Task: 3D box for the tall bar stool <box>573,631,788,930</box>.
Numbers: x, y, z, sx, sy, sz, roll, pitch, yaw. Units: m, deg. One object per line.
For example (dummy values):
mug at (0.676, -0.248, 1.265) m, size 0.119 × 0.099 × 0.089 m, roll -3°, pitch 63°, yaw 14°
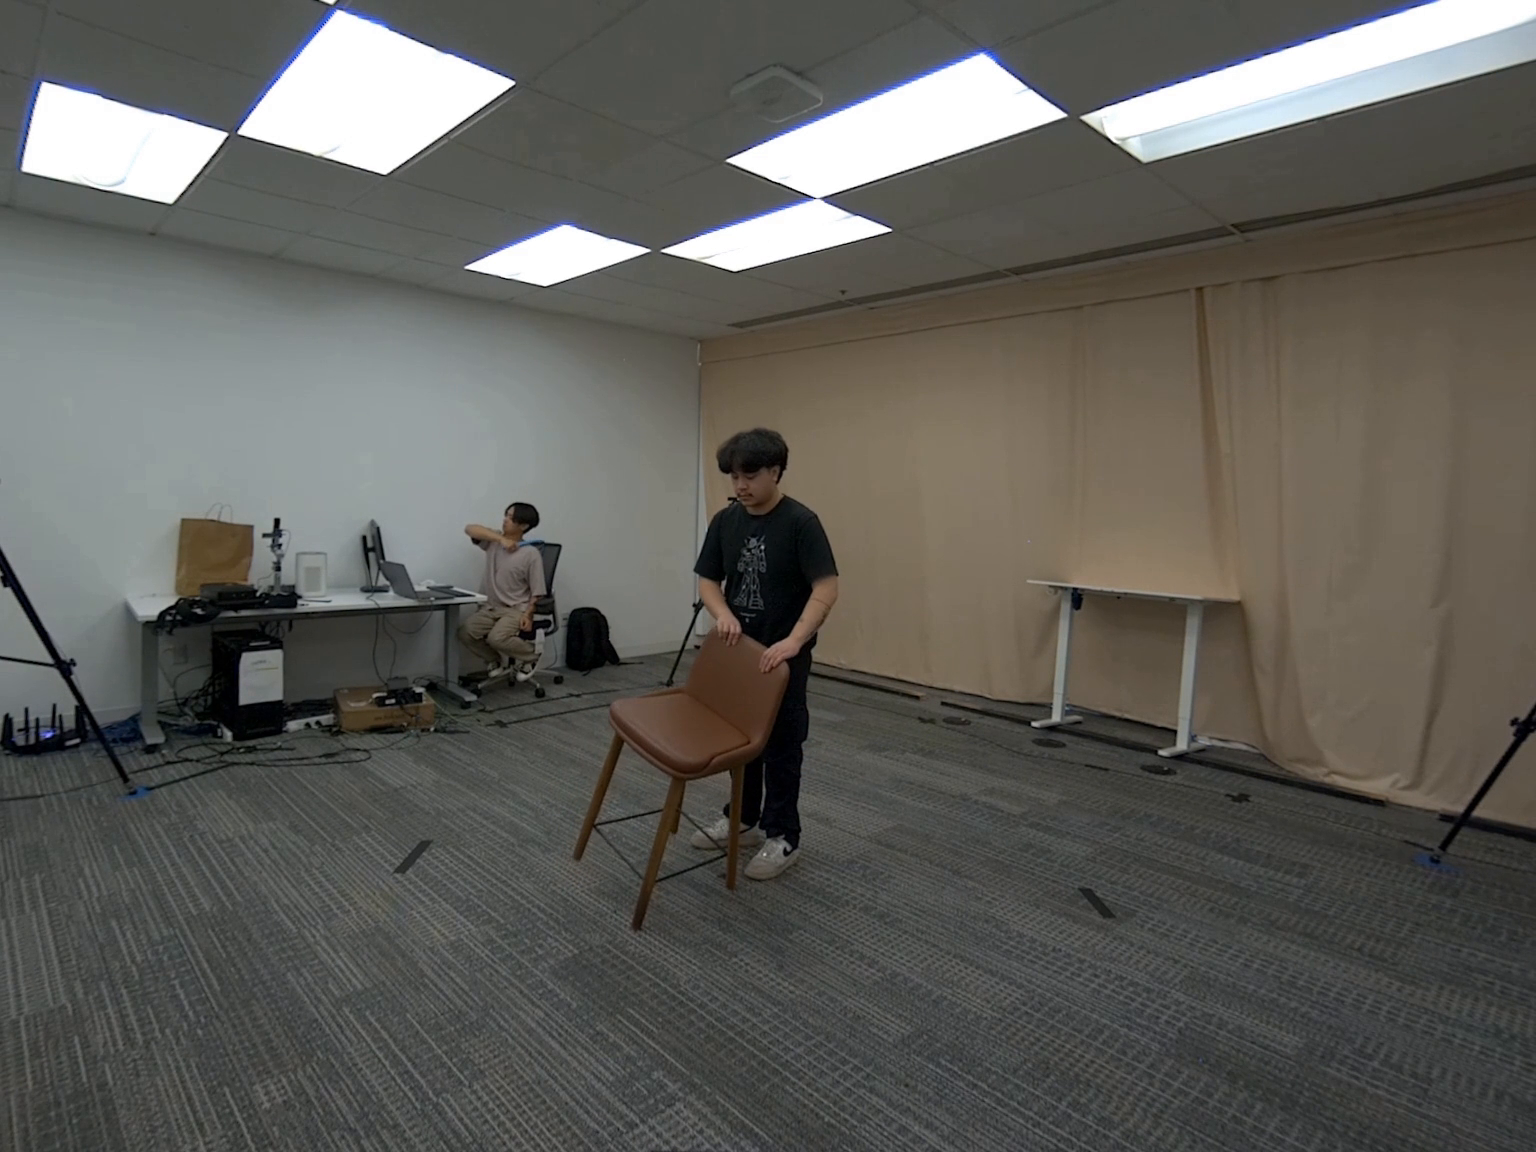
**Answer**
tall bar stool at (-0.303, 0.657, 2.879) m, size 0.456 × 0.884 × 0.471 m, roll 3°, pitch 17°, yaw -44°
